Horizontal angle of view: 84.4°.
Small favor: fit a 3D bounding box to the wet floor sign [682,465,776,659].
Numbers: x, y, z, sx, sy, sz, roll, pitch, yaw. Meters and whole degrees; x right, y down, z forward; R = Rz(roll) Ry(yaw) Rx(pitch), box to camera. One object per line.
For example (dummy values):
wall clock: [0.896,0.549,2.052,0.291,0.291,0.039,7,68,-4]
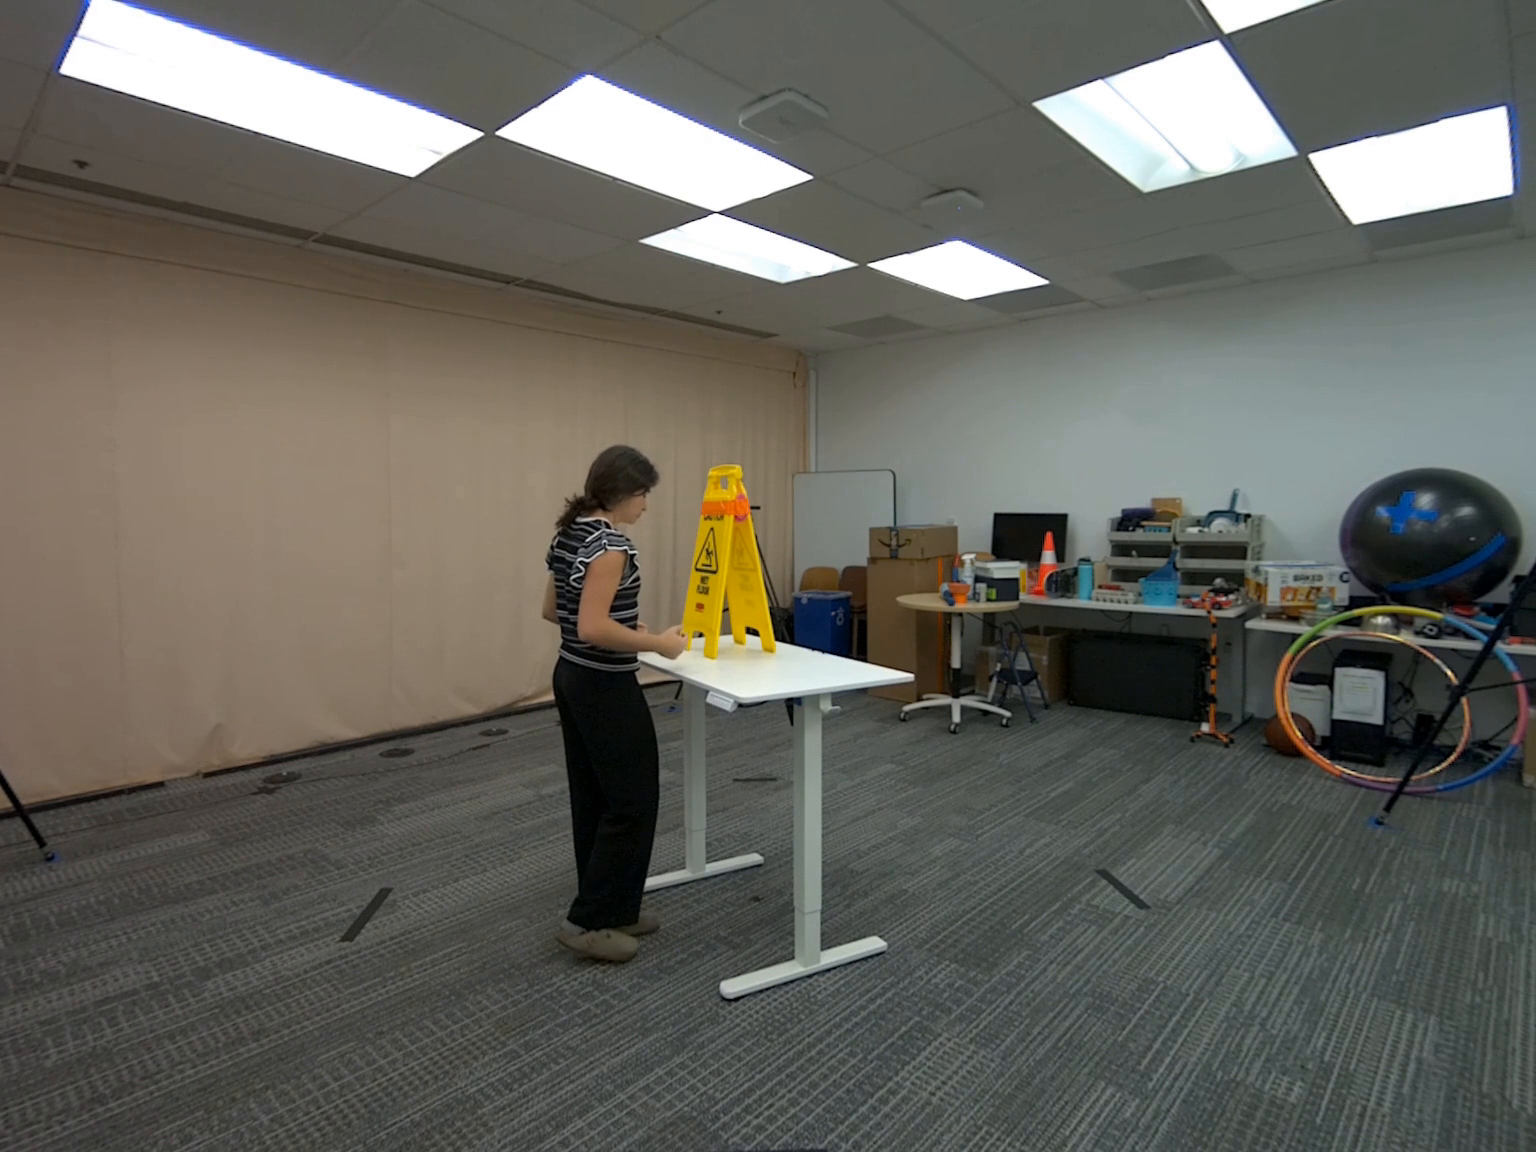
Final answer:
wet floor sign: [-0.146,-0.060,2.969,0.282,0.645,0.290,-1,3,-30]
